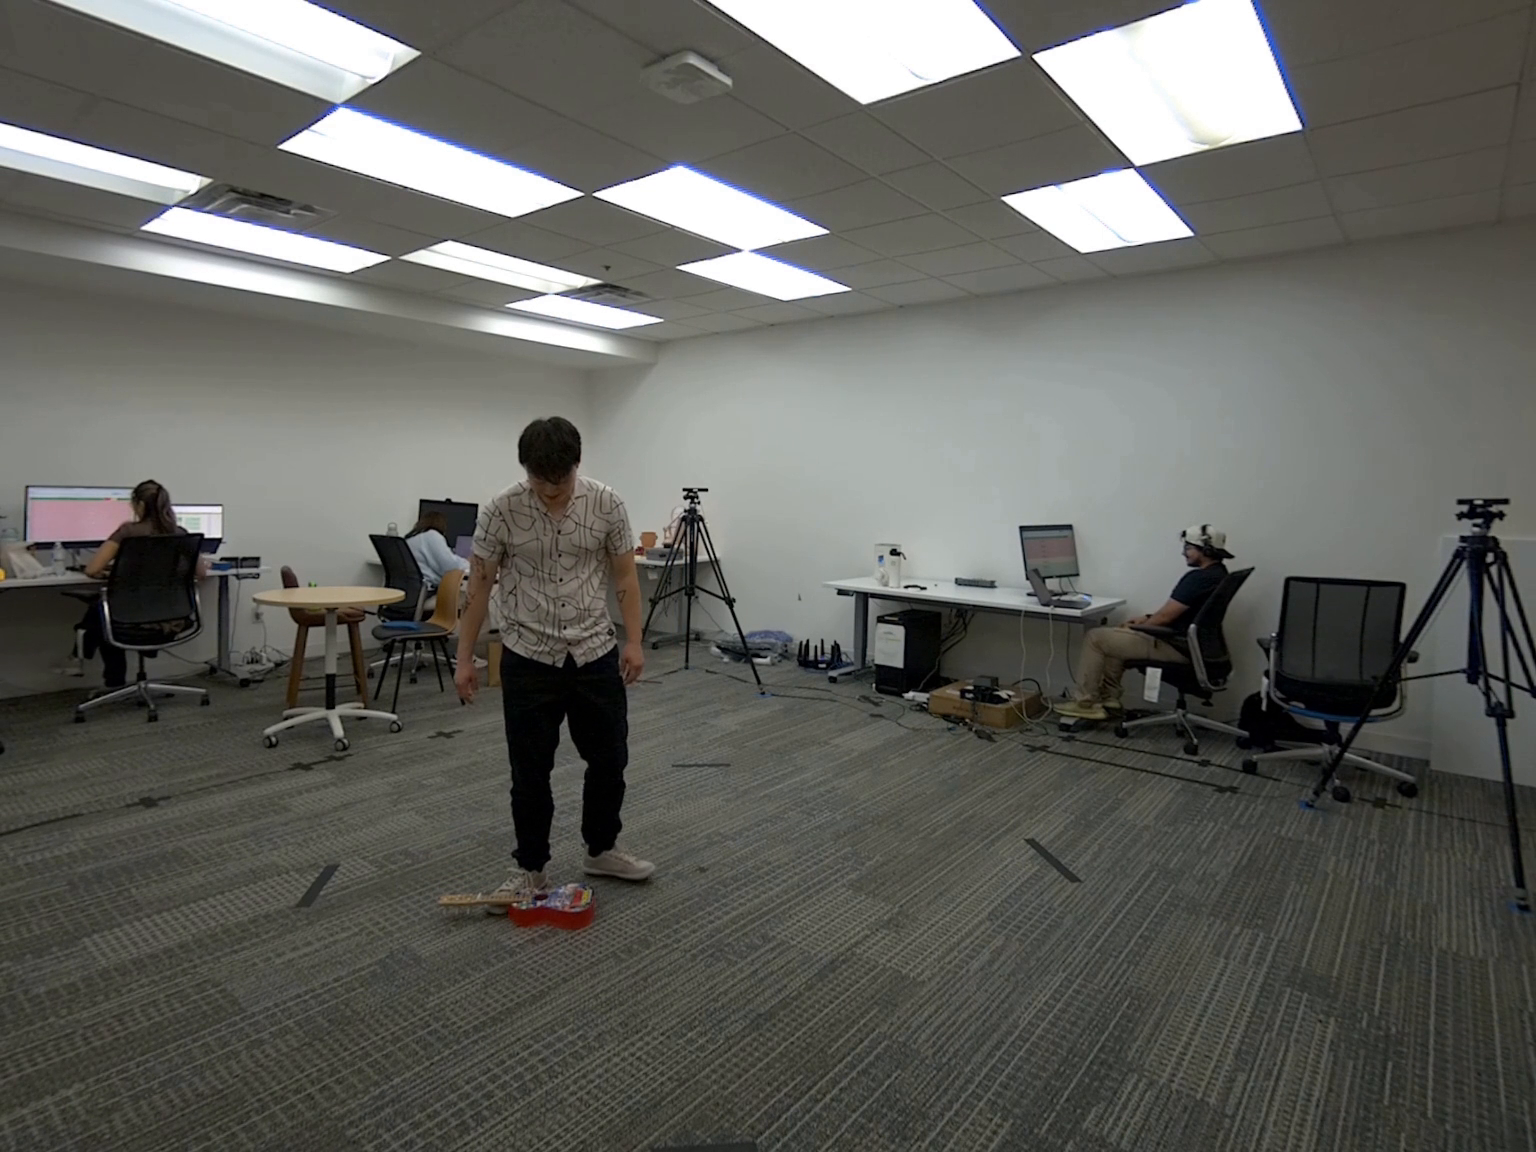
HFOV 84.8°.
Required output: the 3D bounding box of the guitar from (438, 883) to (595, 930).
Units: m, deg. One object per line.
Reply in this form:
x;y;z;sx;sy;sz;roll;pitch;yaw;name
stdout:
-0.827;1.063;2.775;0.500;0.070;0.193;1;5;4;guitar
